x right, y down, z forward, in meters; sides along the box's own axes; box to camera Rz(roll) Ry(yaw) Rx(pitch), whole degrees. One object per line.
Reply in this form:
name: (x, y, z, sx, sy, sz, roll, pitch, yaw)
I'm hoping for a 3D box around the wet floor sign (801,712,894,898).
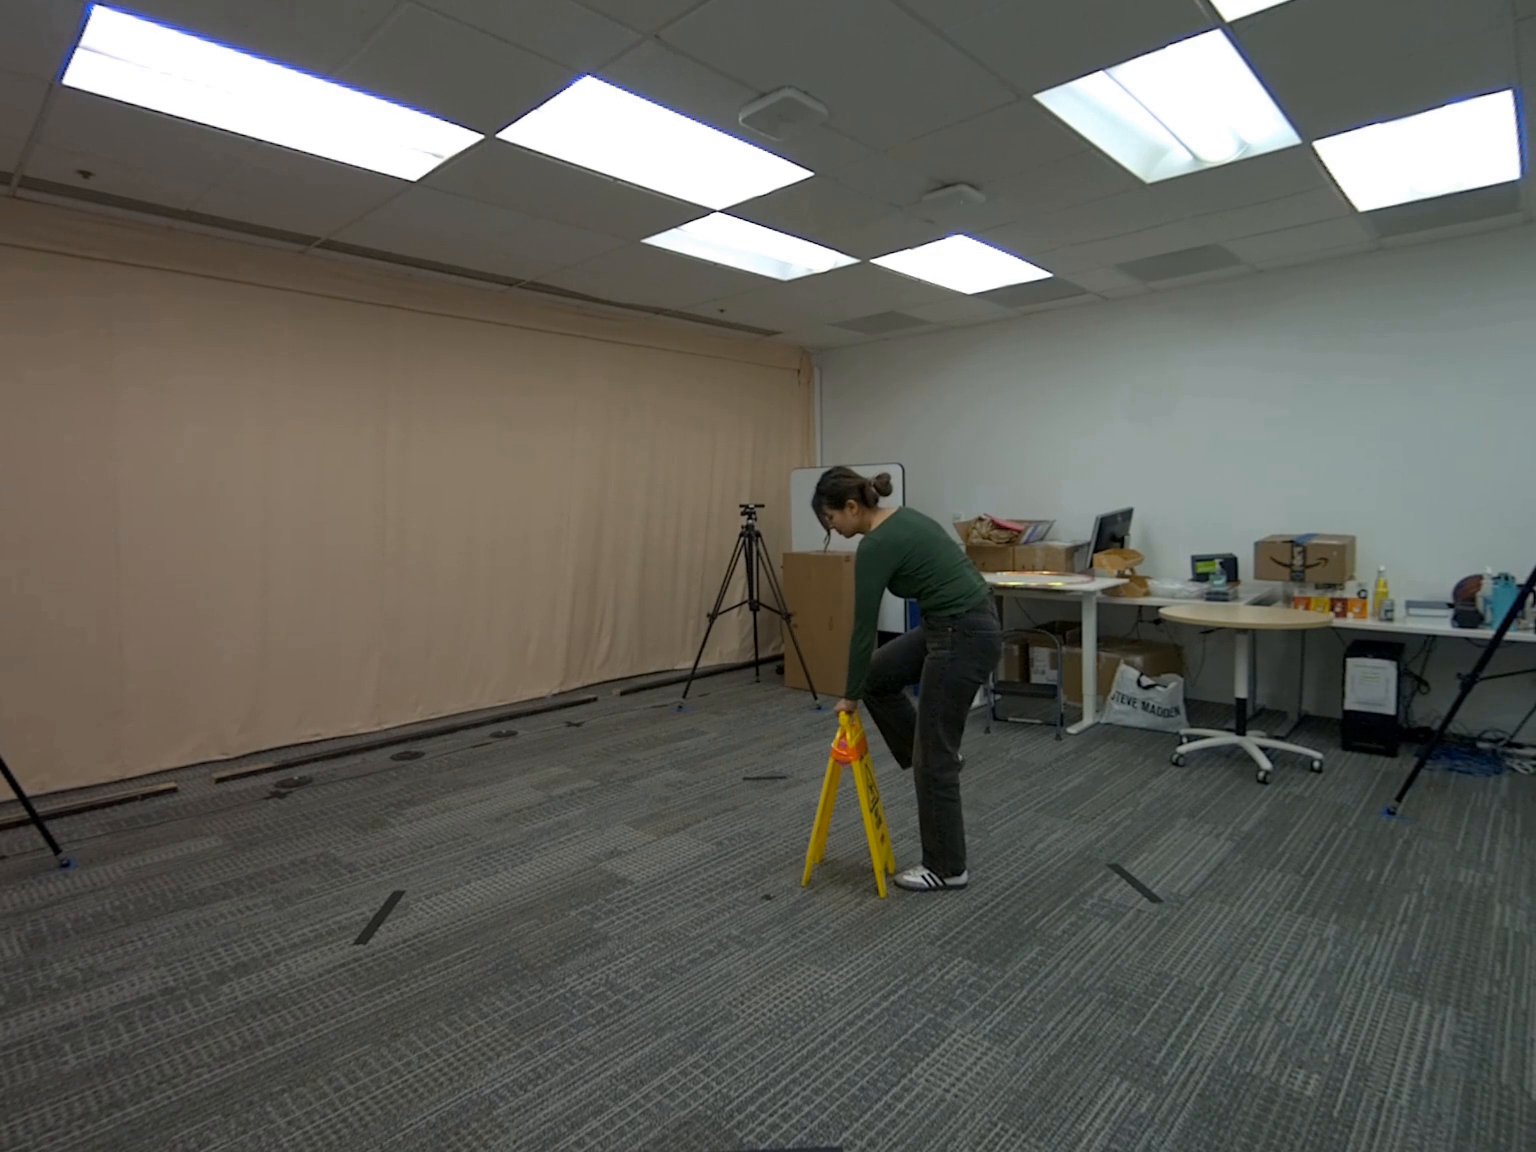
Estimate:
wet floor sign: (0.300, 0.799, 3.115, 0.296, 0.645, 0.277, 0, 3, 19)
